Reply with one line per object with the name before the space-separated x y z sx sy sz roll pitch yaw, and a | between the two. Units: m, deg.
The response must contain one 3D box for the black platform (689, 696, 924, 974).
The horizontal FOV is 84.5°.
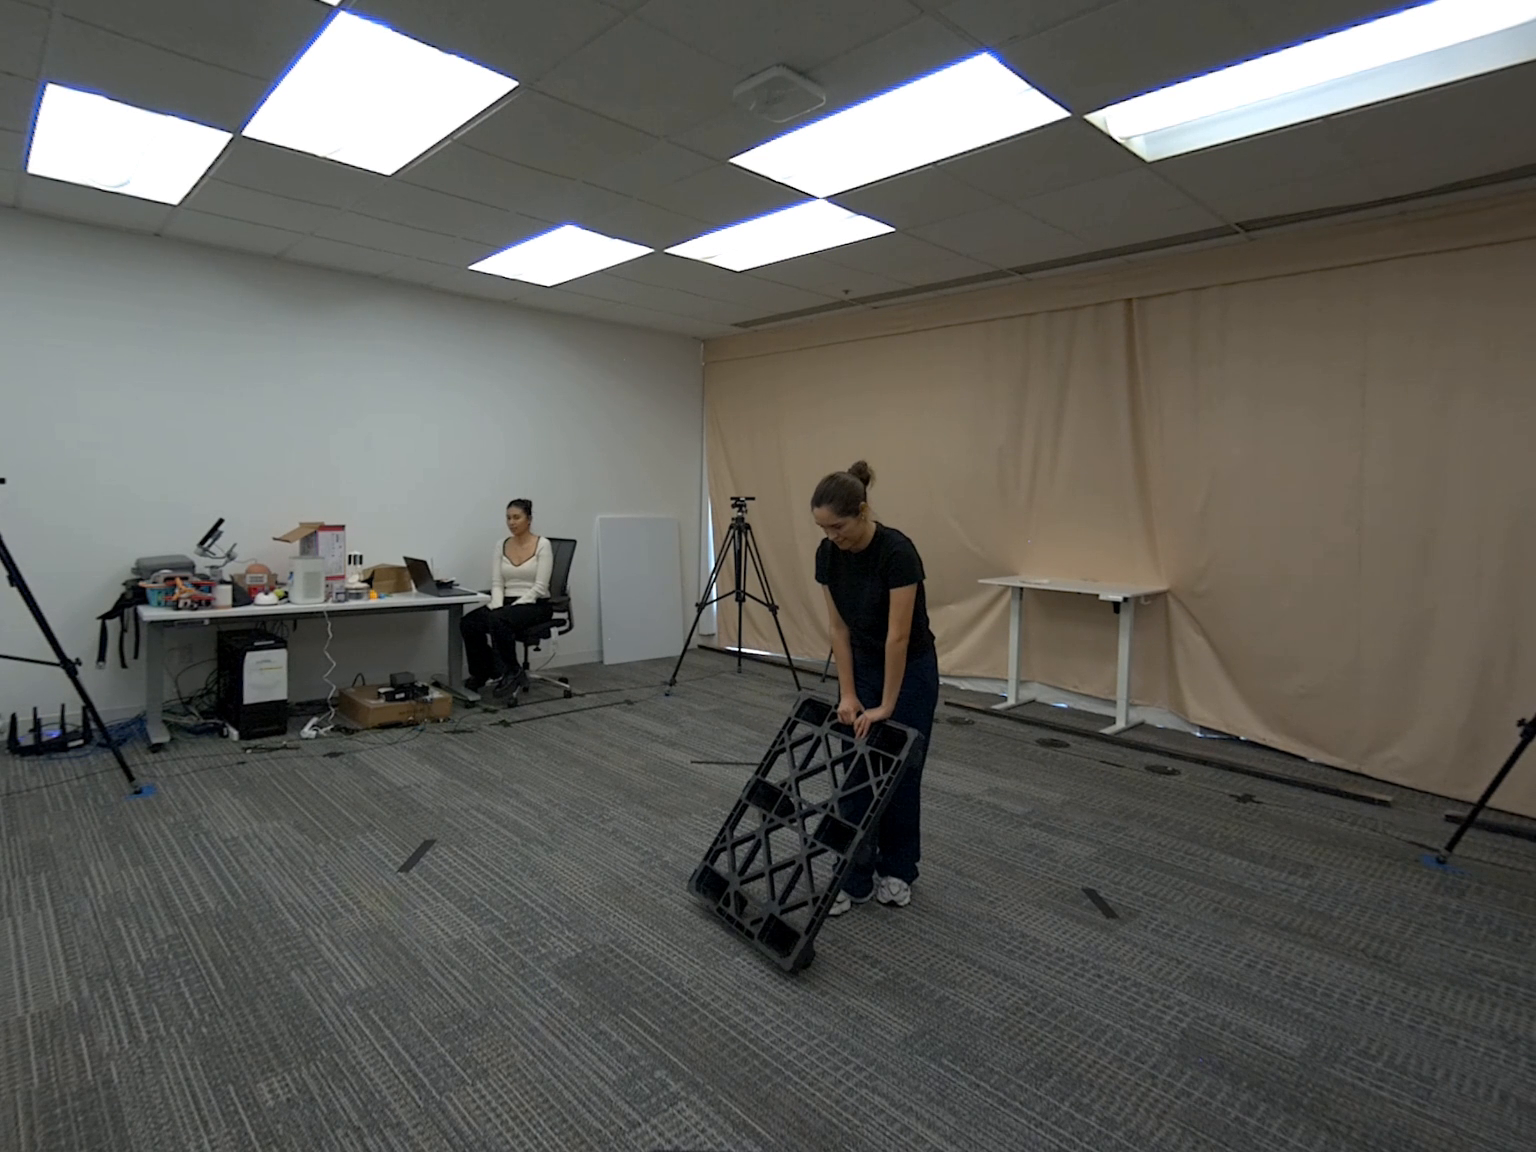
black platform | 0.128 0.817 2.760 0.139 0.808 0.620 42 -19 -30
